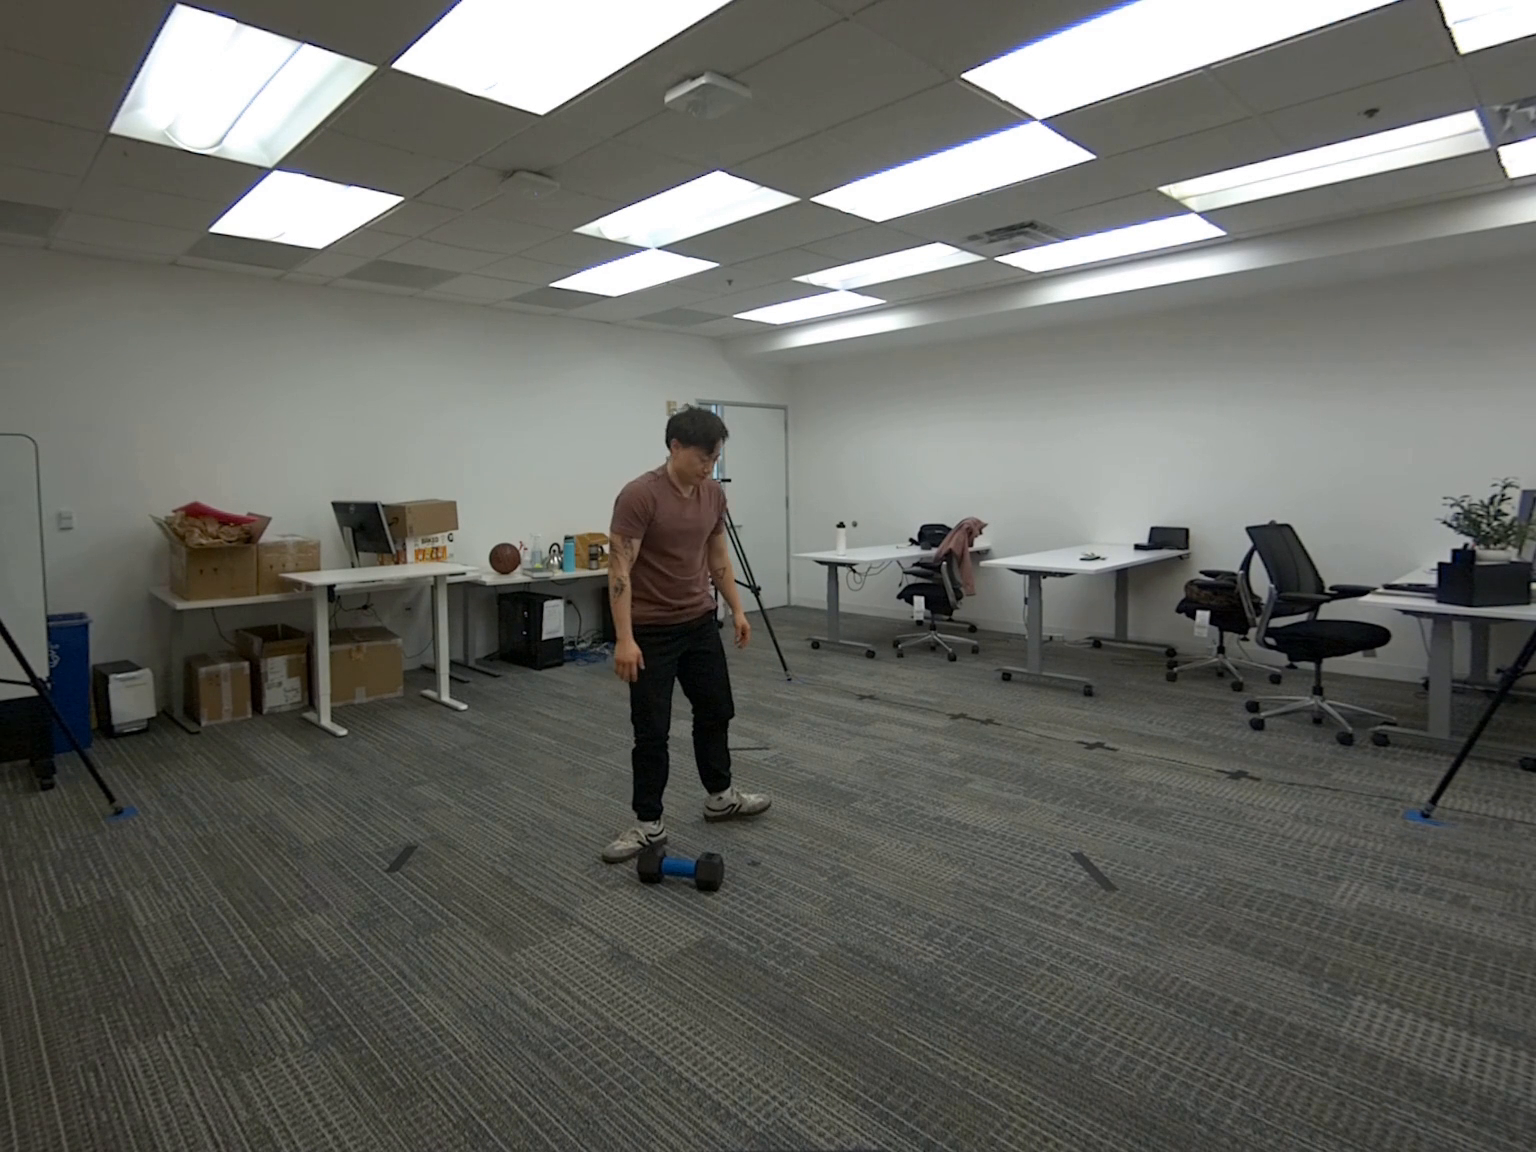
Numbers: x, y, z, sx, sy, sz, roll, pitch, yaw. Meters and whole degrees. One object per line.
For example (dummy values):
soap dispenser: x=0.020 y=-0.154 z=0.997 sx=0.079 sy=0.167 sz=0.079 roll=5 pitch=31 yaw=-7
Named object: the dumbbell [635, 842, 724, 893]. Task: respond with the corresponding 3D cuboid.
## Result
dumbbell: x=-0.305 y=1.016 z=2.955 sx=0.298 sy=0.125 sz=0.105 roll=2 pitch=-25 yaw=17
